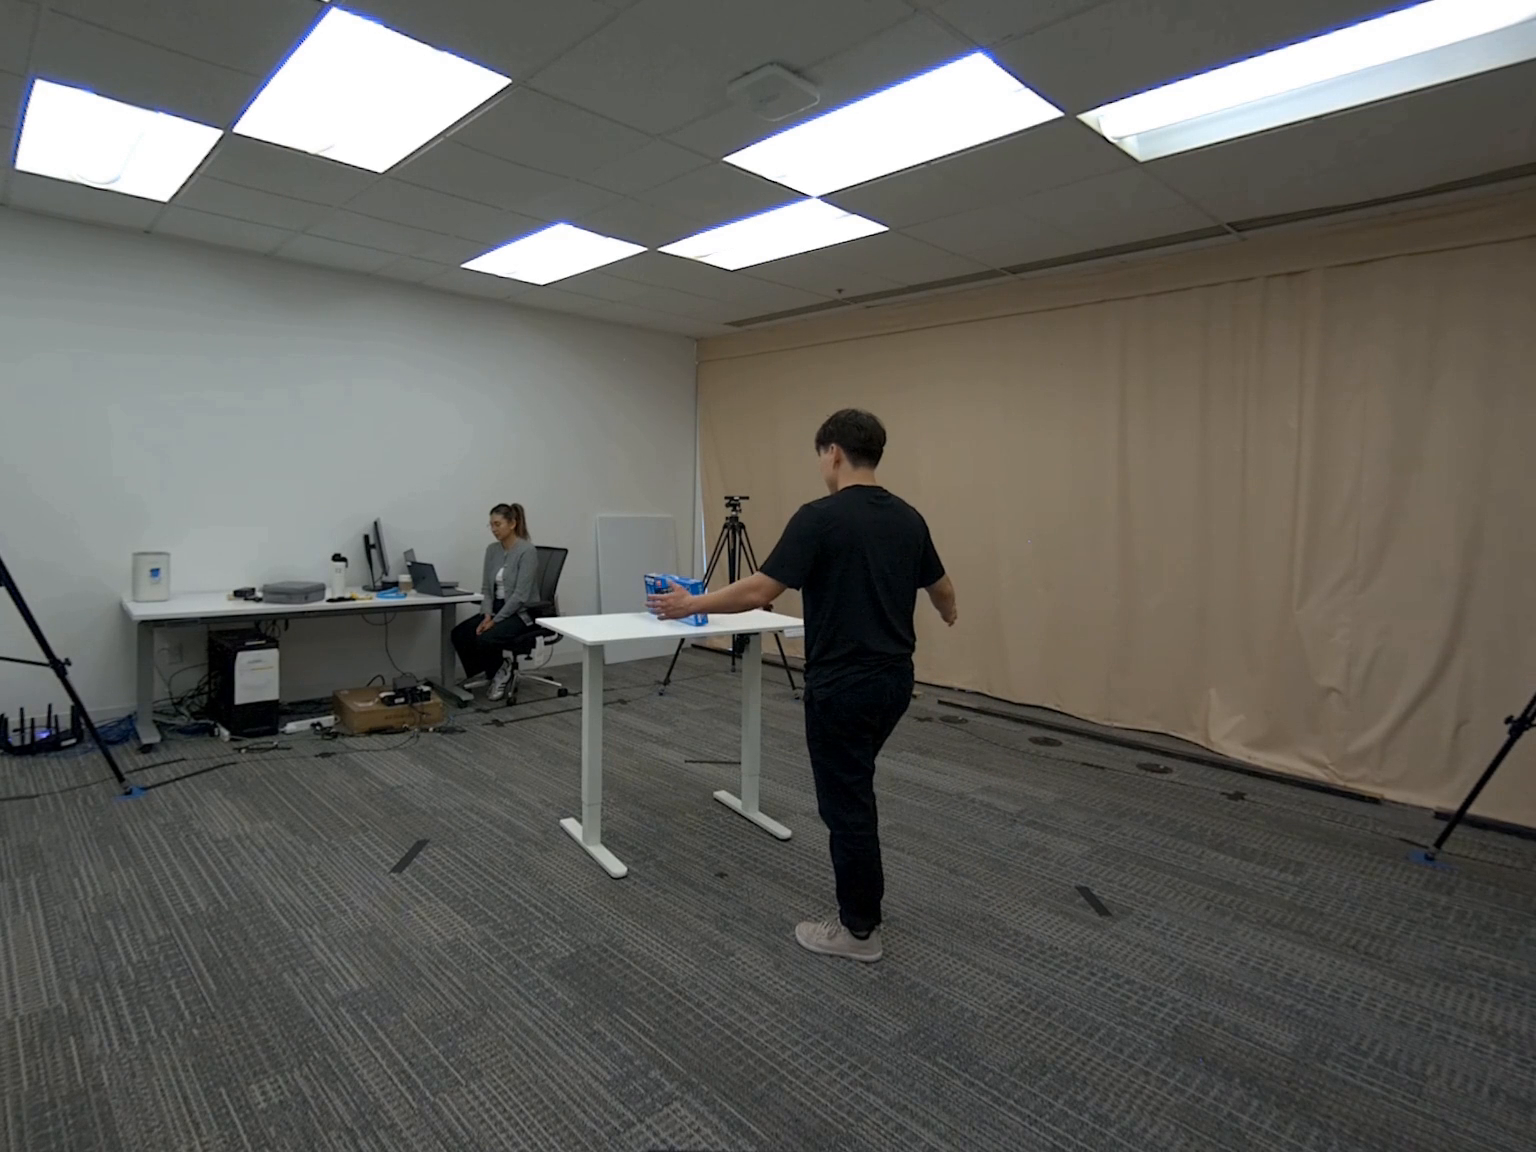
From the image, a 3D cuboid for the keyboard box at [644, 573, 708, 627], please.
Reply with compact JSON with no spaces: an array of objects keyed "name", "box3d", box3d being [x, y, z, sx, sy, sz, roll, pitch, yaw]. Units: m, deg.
[{"name":"keyboard box","box3d":[-0.397,0.094,3.504,0.058,0.175,0.447,-10,10,-31]}]
